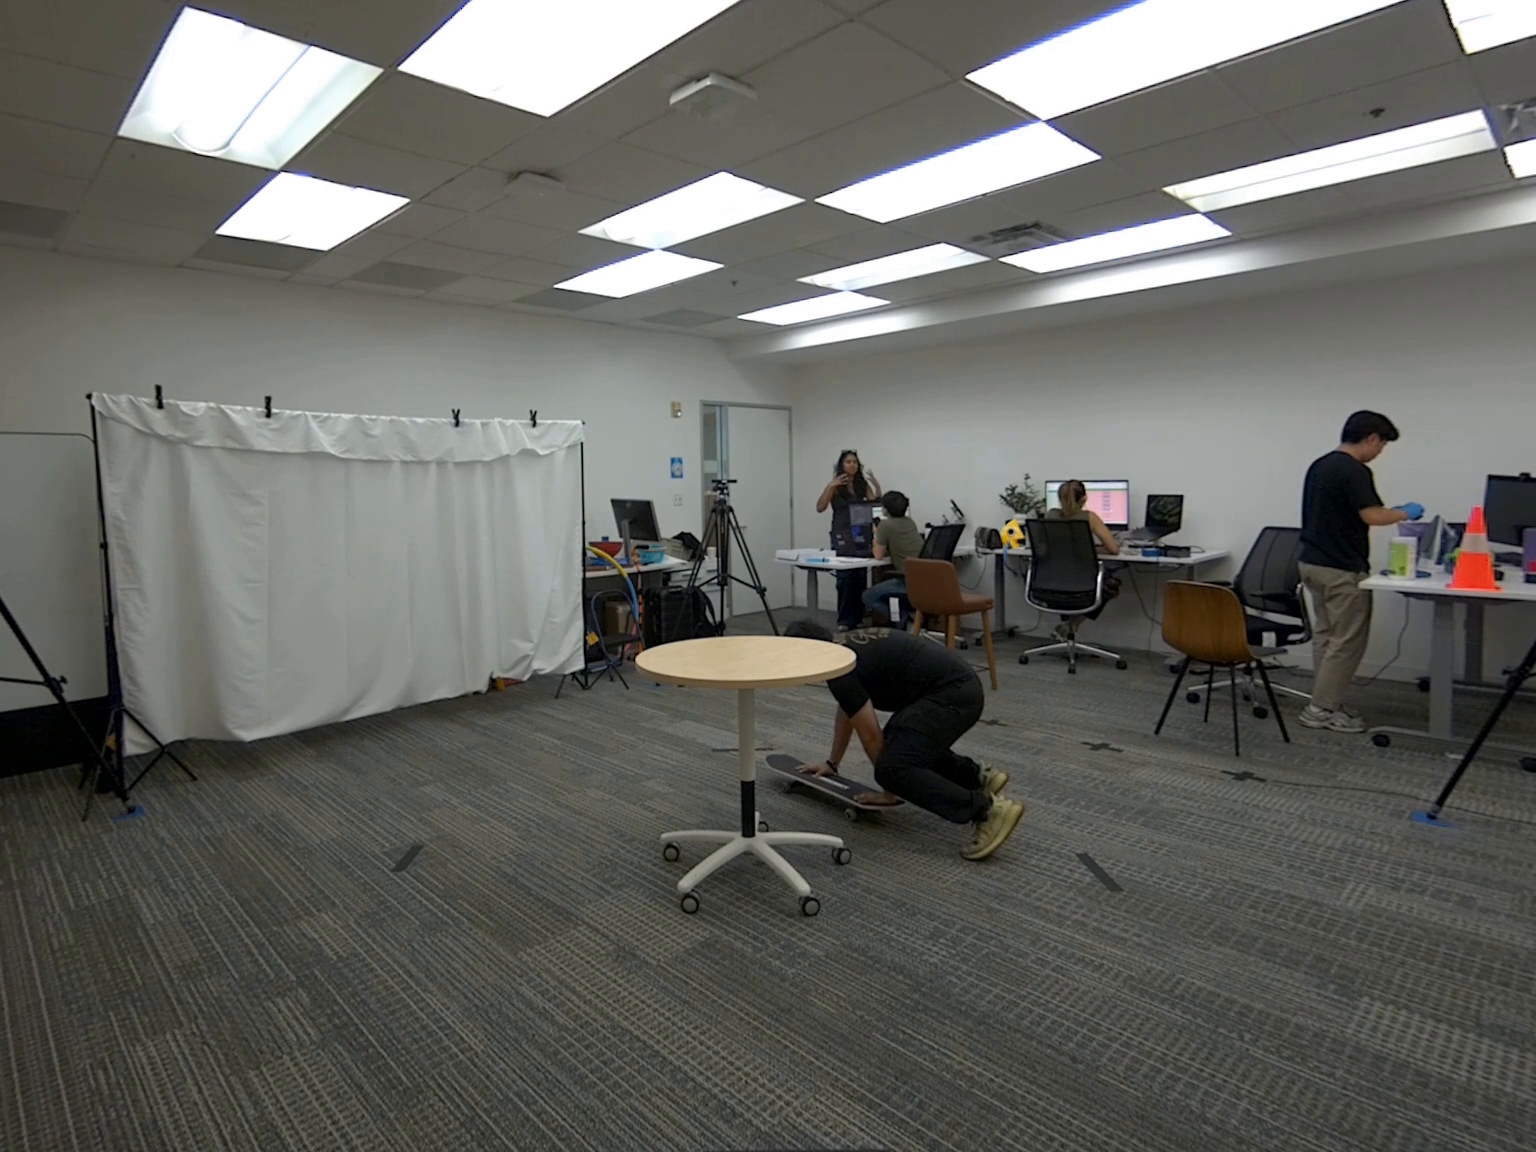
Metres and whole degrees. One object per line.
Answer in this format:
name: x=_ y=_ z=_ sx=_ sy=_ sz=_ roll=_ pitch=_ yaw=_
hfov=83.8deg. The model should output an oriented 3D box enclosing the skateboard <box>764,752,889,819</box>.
skateboard: x=0.270 y=0.923 z=3.695 sx=0.188 sy=0.110 sz=0.809 roll=1 pitch=4 yaw=-38
